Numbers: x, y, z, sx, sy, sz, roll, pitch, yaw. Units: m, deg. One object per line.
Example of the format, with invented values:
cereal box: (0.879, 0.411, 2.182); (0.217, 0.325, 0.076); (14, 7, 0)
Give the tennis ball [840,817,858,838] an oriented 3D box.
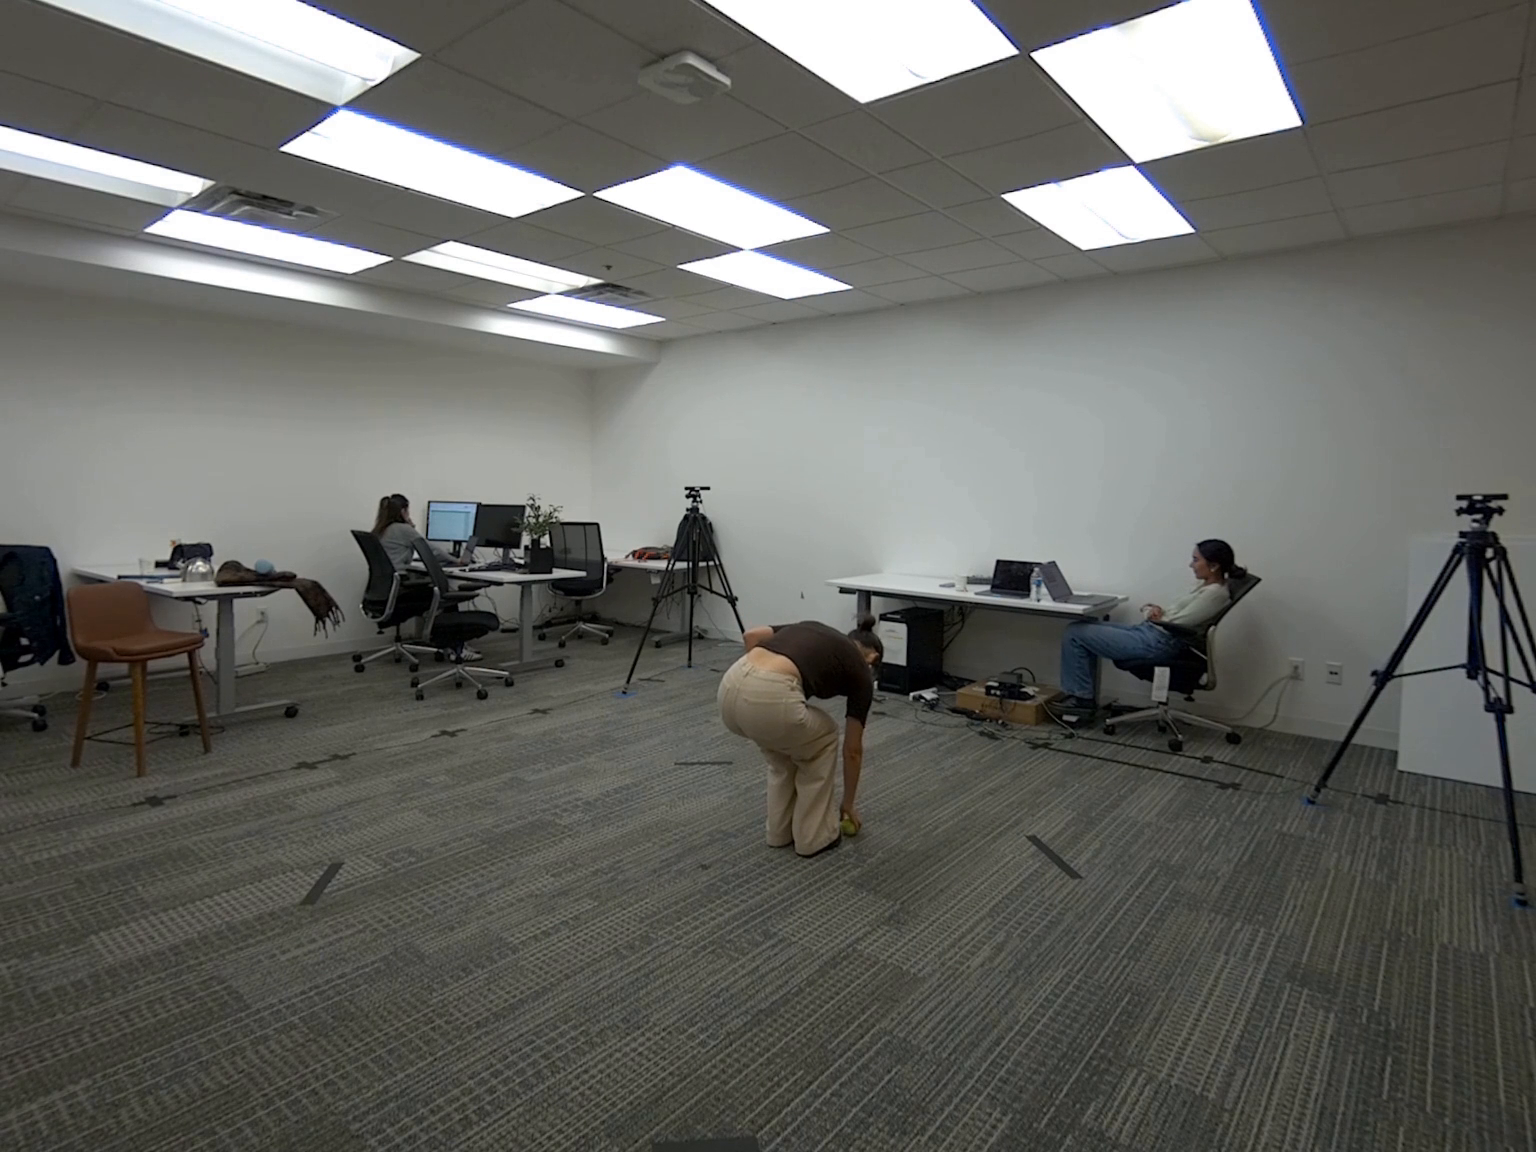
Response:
tennis ball: (0.315, 1.000, 3.448); (0.066, 0.066, 0.067); (1, 4, -2)
